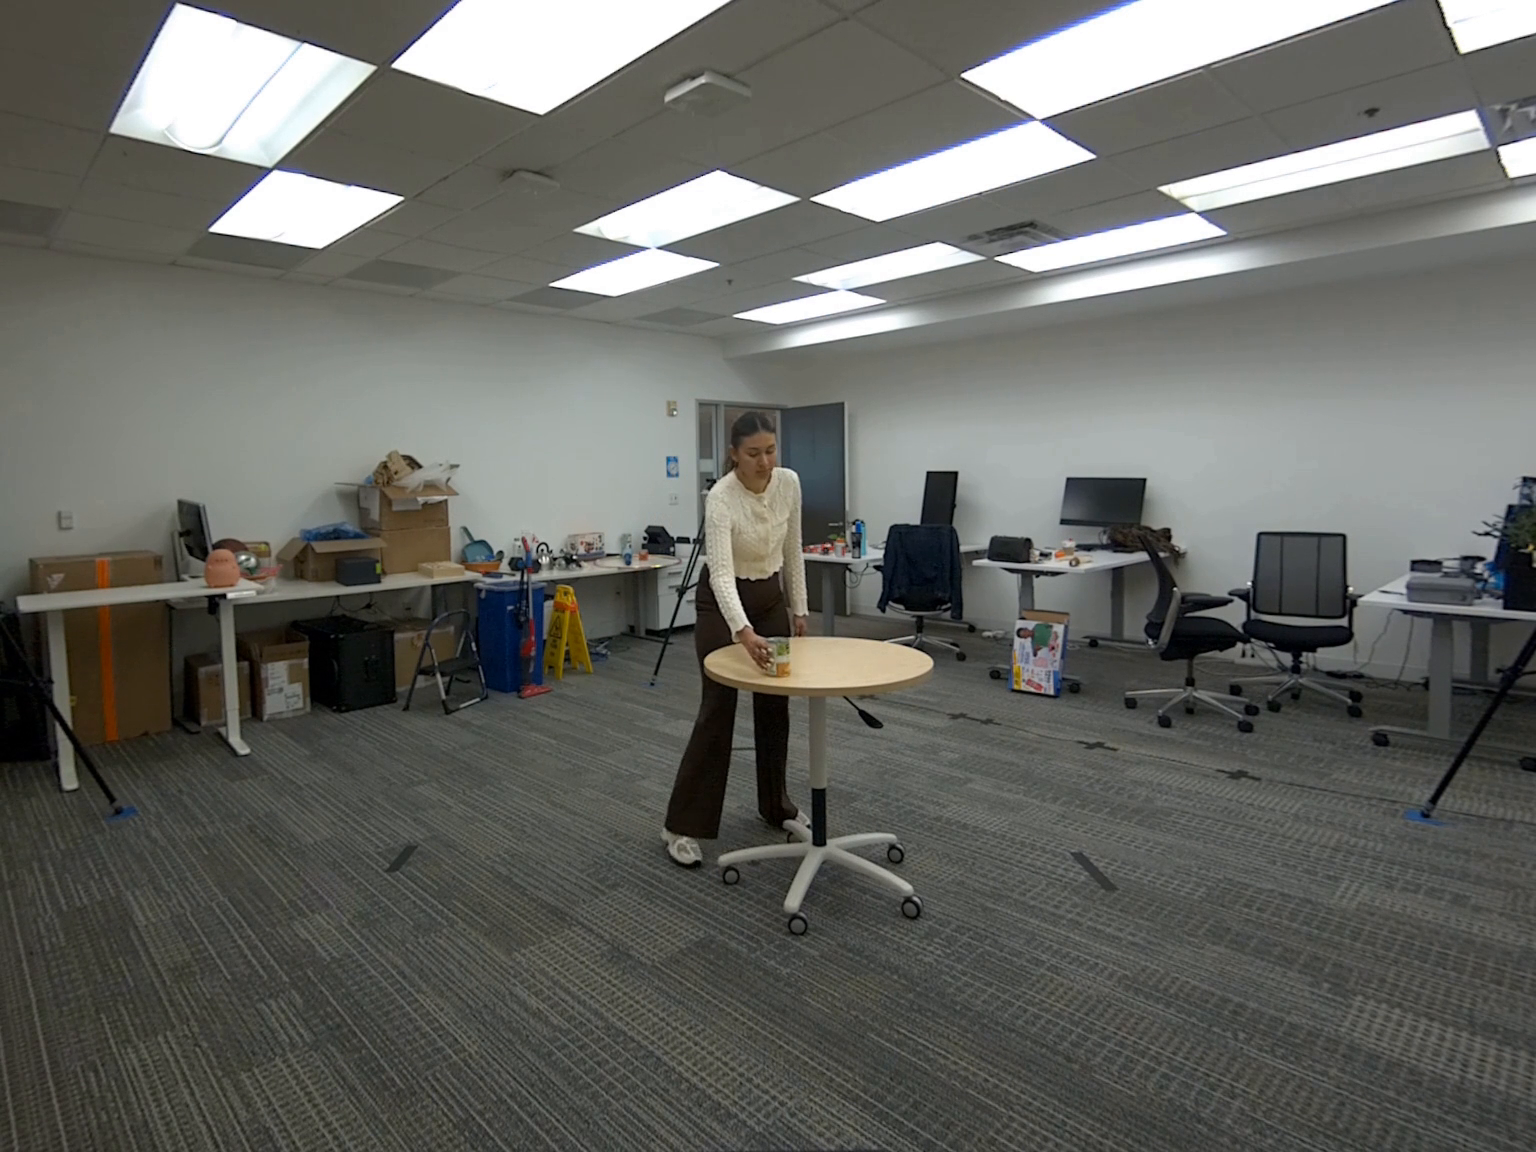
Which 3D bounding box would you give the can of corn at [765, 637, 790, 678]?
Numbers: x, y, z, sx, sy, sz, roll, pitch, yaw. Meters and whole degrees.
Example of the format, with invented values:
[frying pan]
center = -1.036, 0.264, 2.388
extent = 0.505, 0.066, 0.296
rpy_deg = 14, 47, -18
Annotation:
[can of corn]
center = 0.027, 0.257, 2.676
extent = 0.074, 0.111, 0.074
rpy_deg = -4, 3, -1
